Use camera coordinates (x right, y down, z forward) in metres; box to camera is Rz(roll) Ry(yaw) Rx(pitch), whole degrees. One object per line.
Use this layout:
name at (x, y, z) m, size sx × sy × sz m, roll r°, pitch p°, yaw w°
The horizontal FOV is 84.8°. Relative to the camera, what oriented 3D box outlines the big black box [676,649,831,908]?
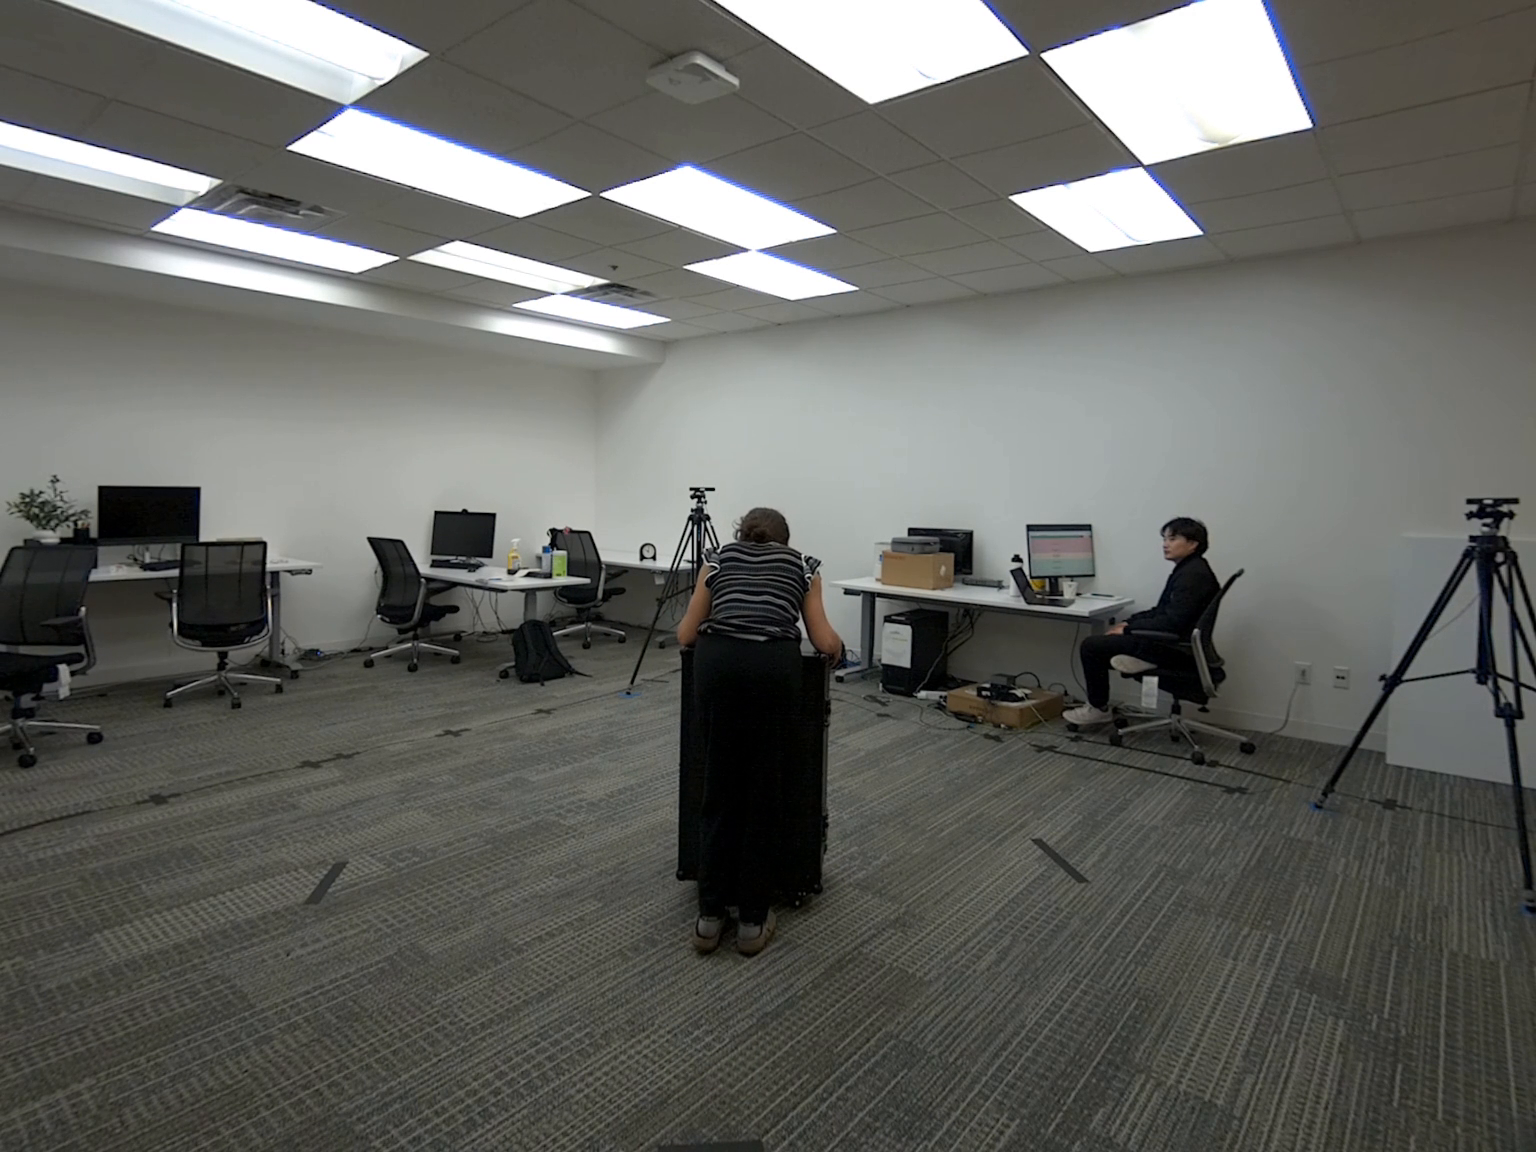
big black box at (-0.057, 0.660, 2.993) m, size 0.526 × 0.861 × 0.393 m, roll 2°, pitch 1°, yaw 7°
